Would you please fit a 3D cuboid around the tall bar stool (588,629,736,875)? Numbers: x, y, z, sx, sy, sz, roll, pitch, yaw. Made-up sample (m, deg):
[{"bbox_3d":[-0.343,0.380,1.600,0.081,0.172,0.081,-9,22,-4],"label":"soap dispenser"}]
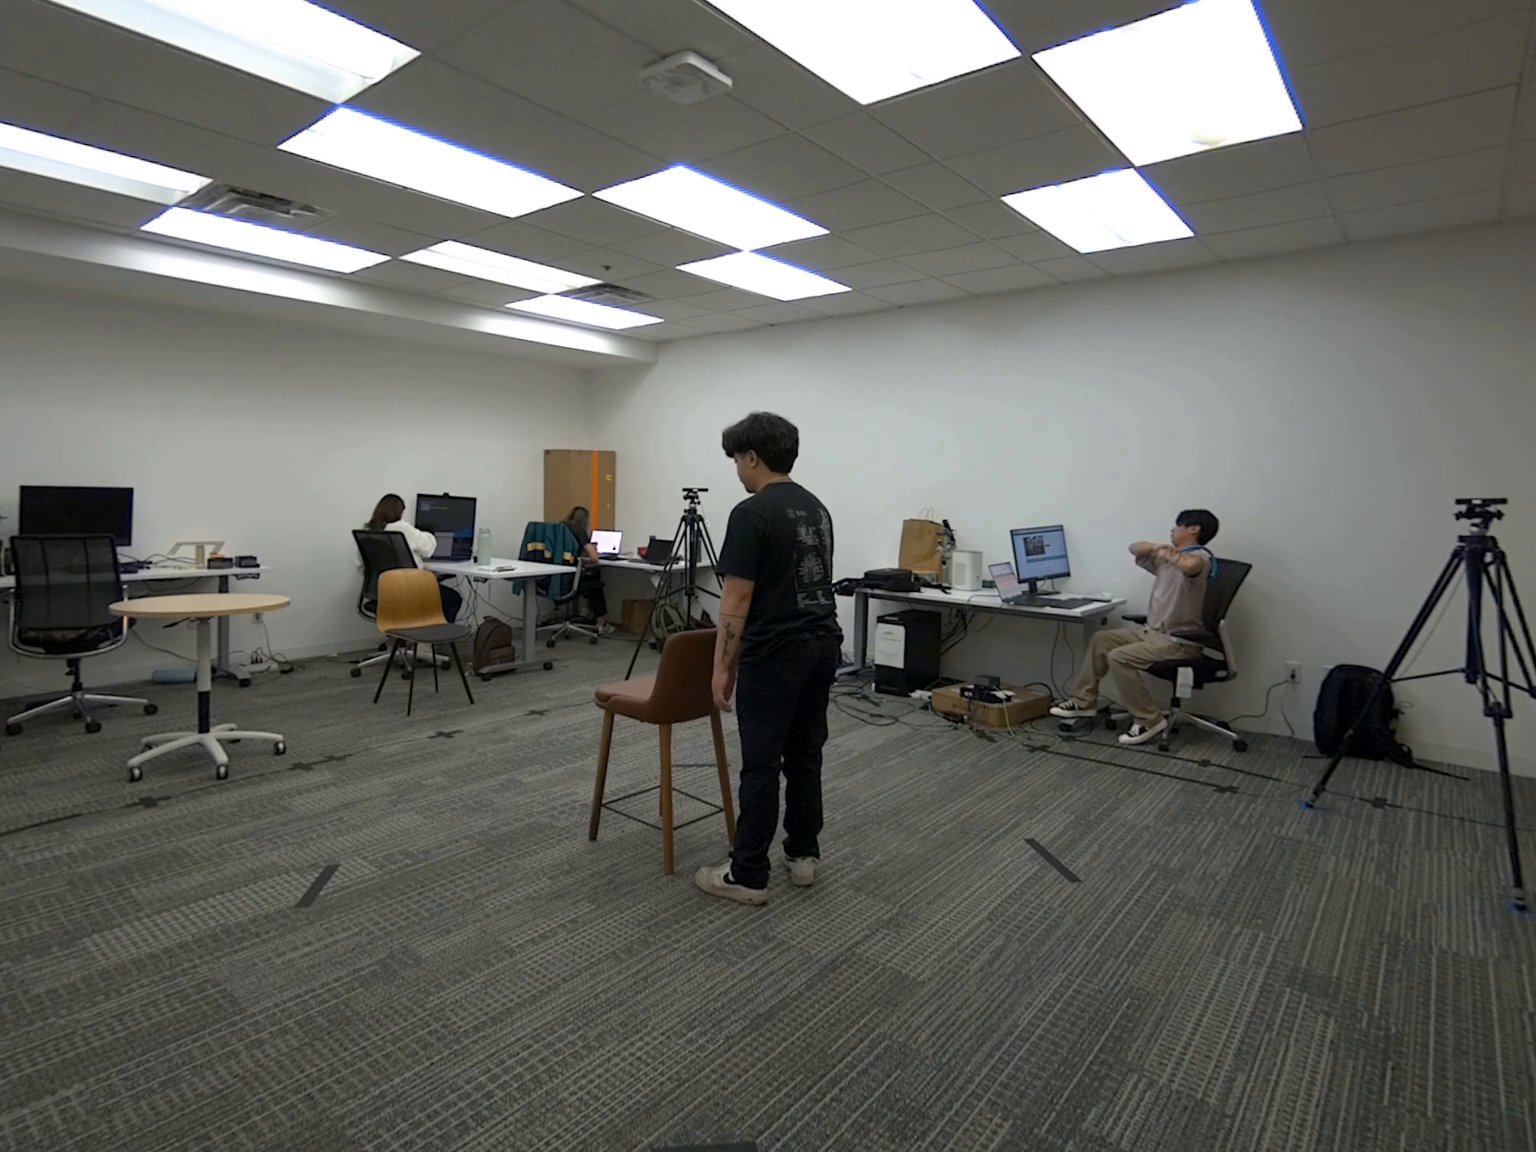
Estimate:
[{"bbox_3d":[-0.405,0.610,3.314,0.484,0.886,0.443,6,6,41],"label":"tall bar stool"}]
